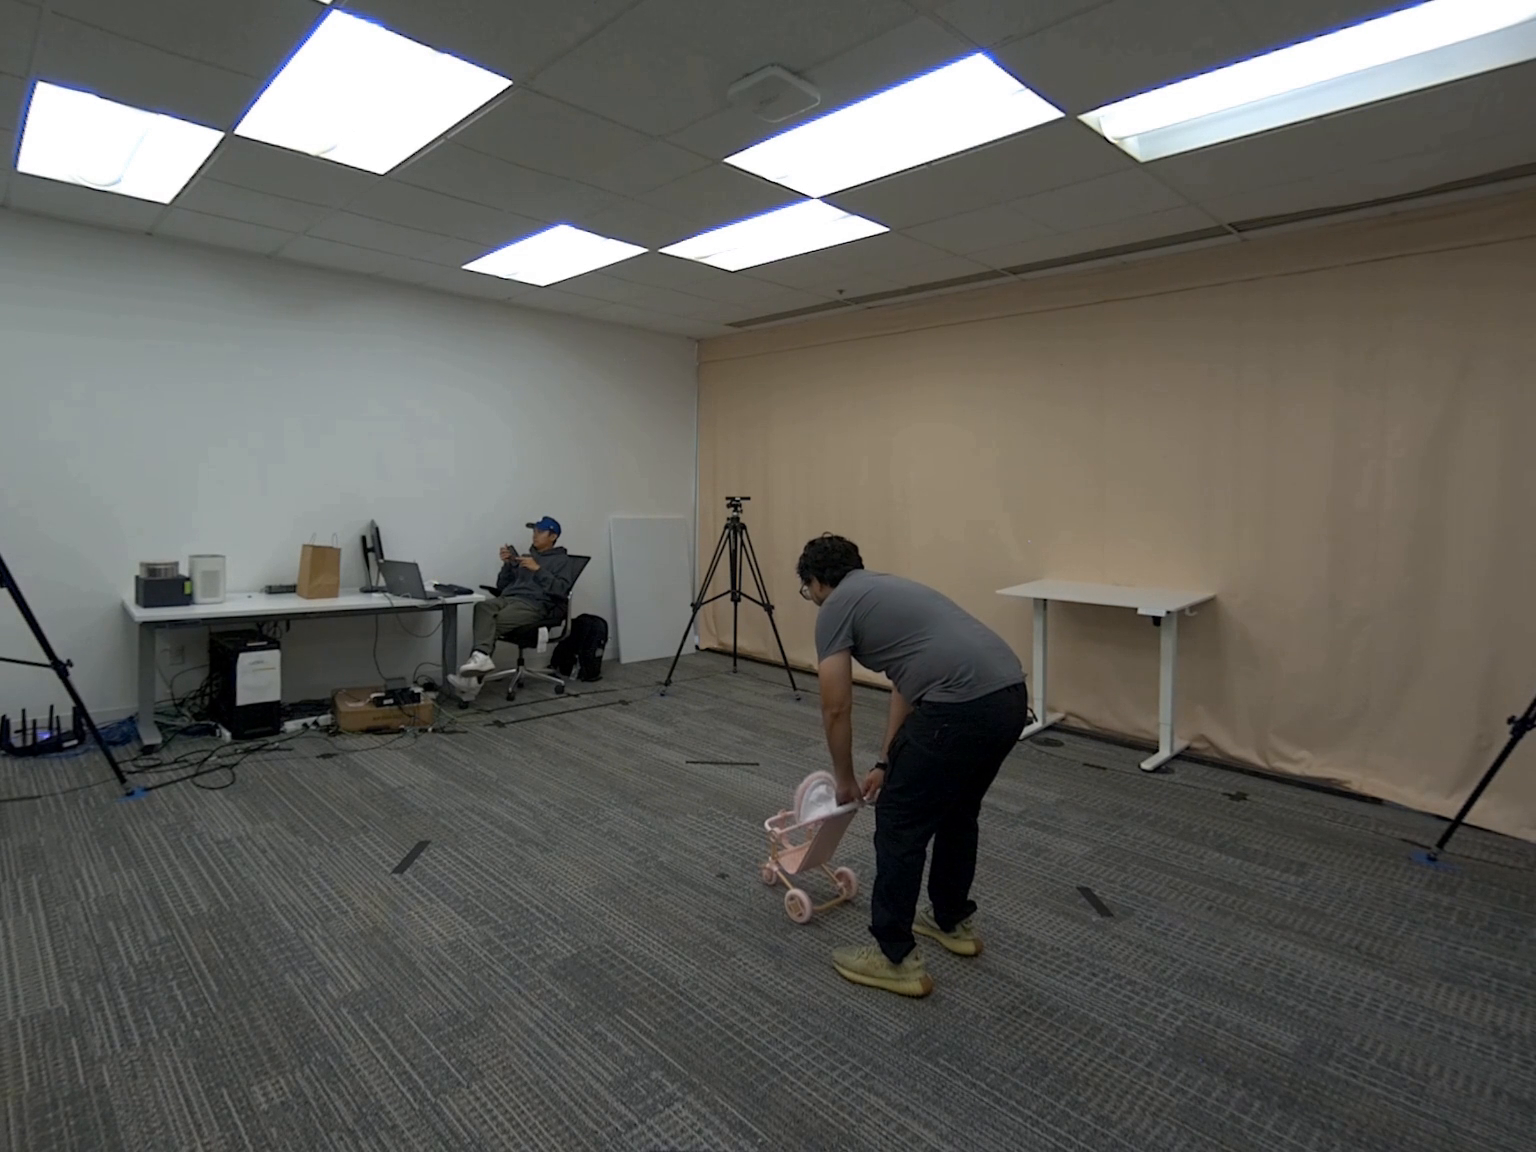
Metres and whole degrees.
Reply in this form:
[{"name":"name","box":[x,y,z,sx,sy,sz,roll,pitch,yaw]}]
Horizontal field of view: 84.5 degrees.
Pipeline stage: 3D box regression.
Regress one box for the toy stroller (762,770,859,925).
[{"name":"toy stroller","box":[0.142,0.906,2.893,0.275,0.530,0.352,-1,21,-40]}]
